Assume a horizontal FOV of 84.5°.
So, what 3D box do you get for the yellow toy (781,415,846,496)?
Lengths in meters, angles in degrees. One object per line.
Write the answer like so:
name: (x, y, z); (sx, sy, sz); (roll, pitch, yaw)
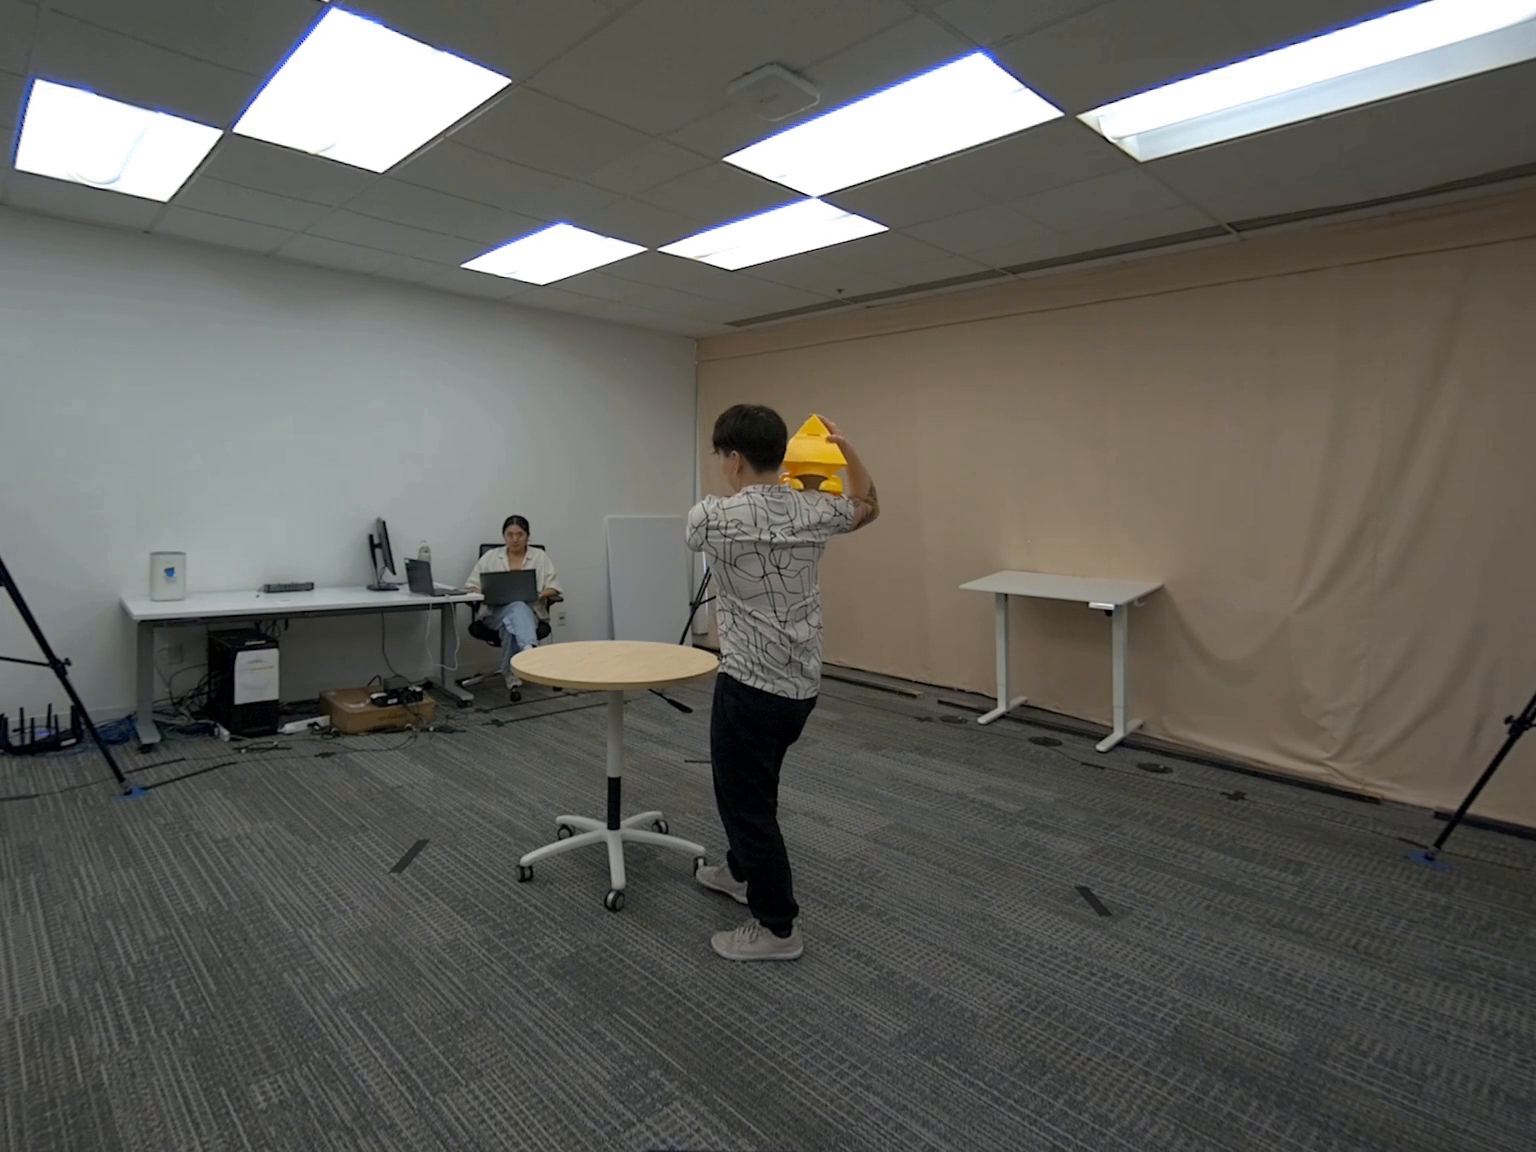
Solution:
yellow toy: (0.131, -0.372, 2.611); (0.205, 0.231, 0.193); (2, -2, 0)
